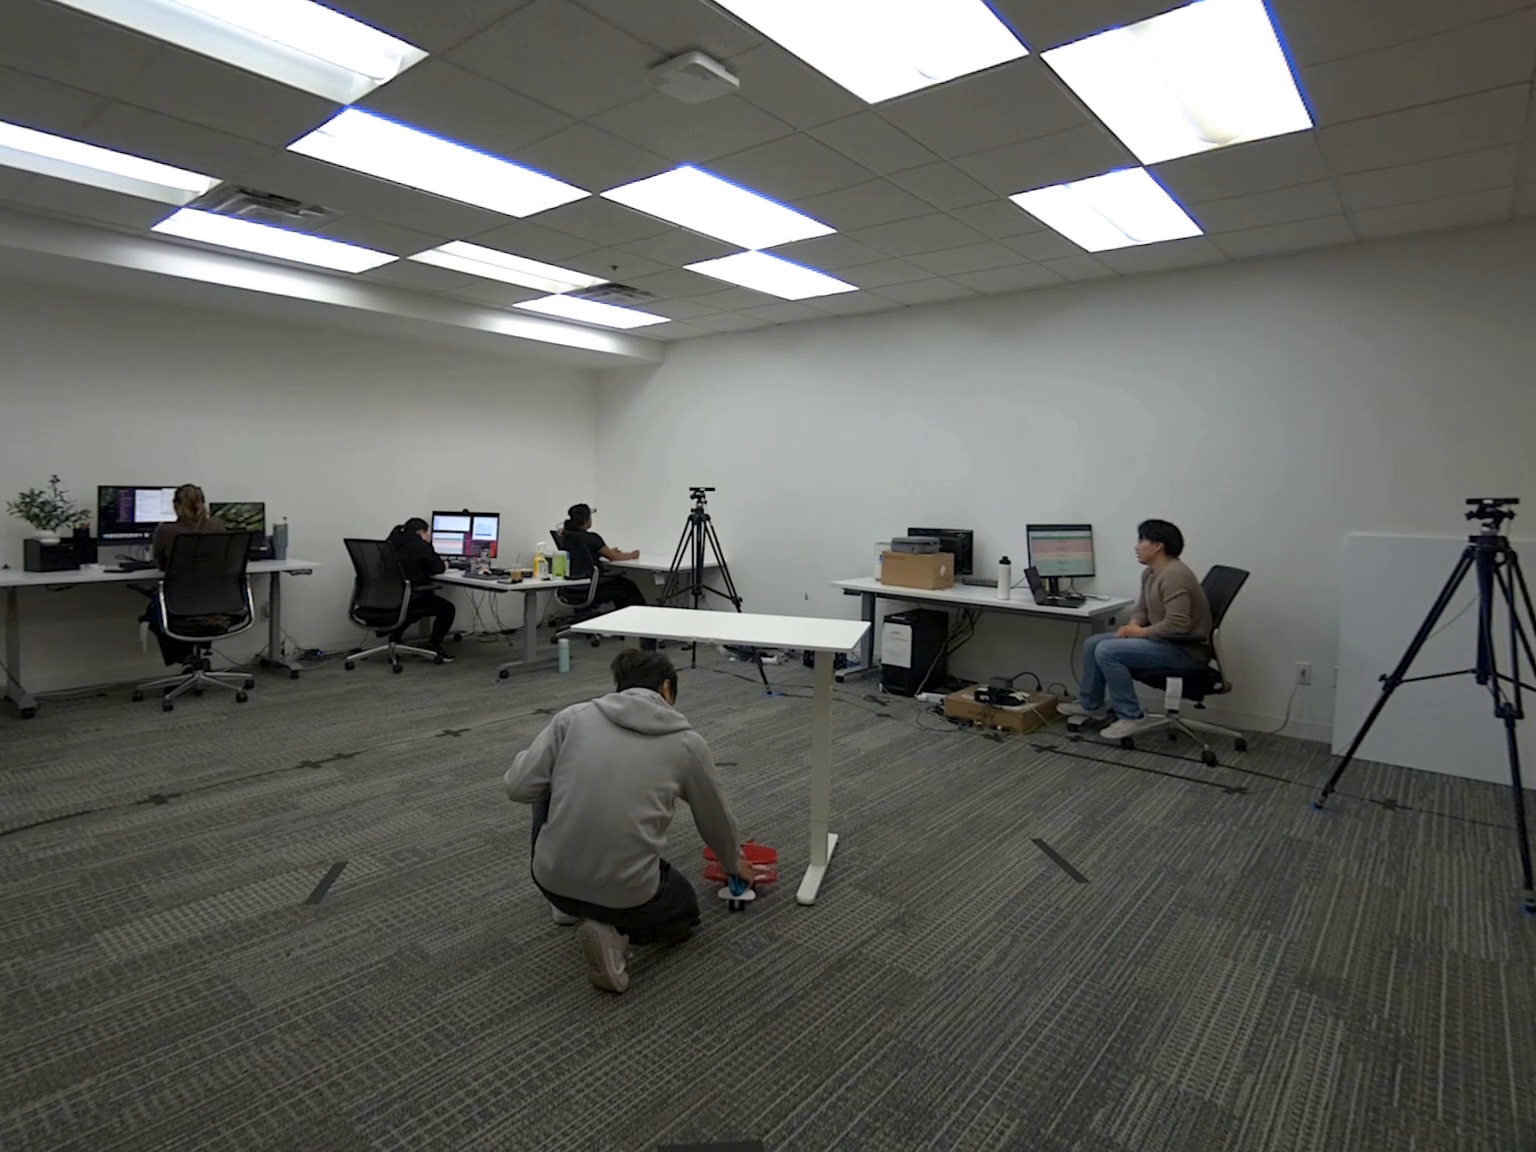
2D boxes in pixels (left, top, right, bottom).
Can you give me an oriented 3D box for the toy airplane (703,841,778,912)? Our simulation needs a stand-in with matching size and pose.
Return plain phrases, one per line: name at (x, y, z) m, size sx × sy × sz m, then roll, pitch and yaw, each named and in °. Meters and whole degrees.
toy airplane at (-0.086, 1.012, 2.901) m, size 0.245 × 0.156 × 0.266 m, roll -3°, pitch 5°, yaw -24°
